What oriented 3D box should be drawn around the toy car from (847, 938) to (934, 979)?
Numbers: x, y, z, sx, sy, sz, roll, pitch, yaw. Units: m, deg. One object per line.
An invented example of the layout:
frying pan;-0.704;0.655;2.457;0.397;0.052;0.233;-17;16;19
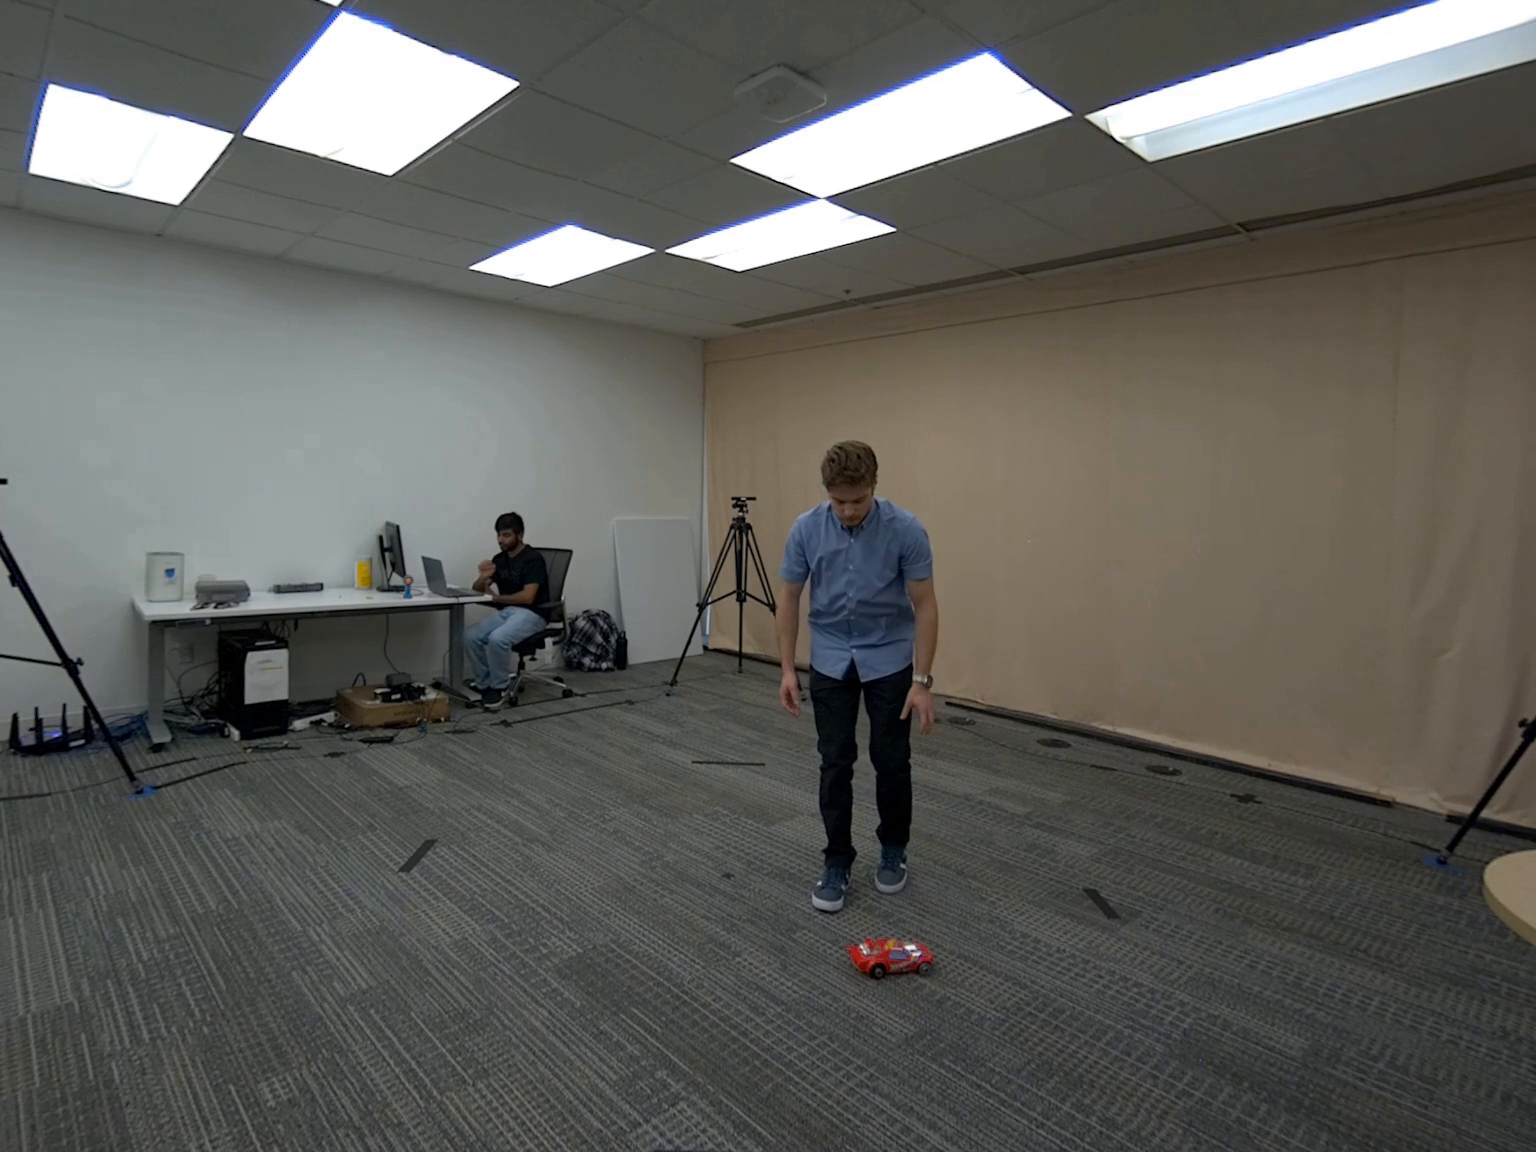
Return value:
toy car;0.352;1.140;2.514;0.252;0.083;0.131;11;2;-11
